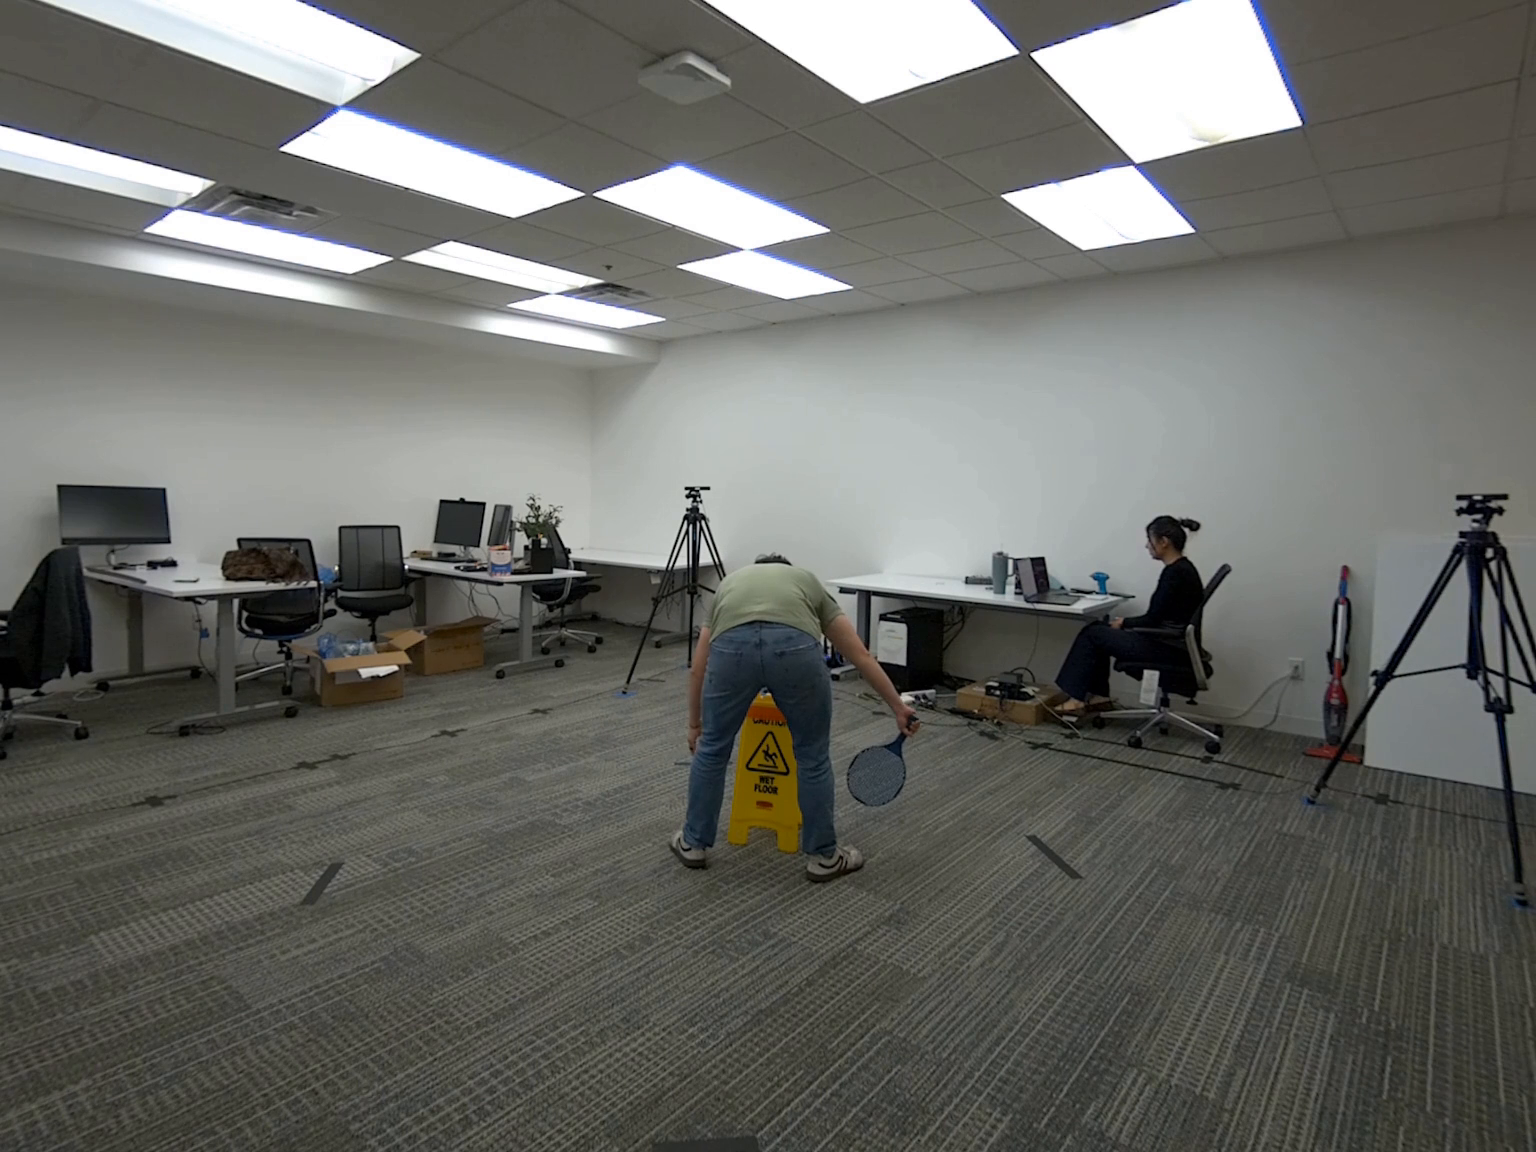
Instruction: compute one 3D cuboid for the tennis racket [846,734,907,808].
[{"bbox_3d":[0.454,0.703,3.283,0.217,0.430,0.031,28,16,11],"label":"tennis racket"}]
